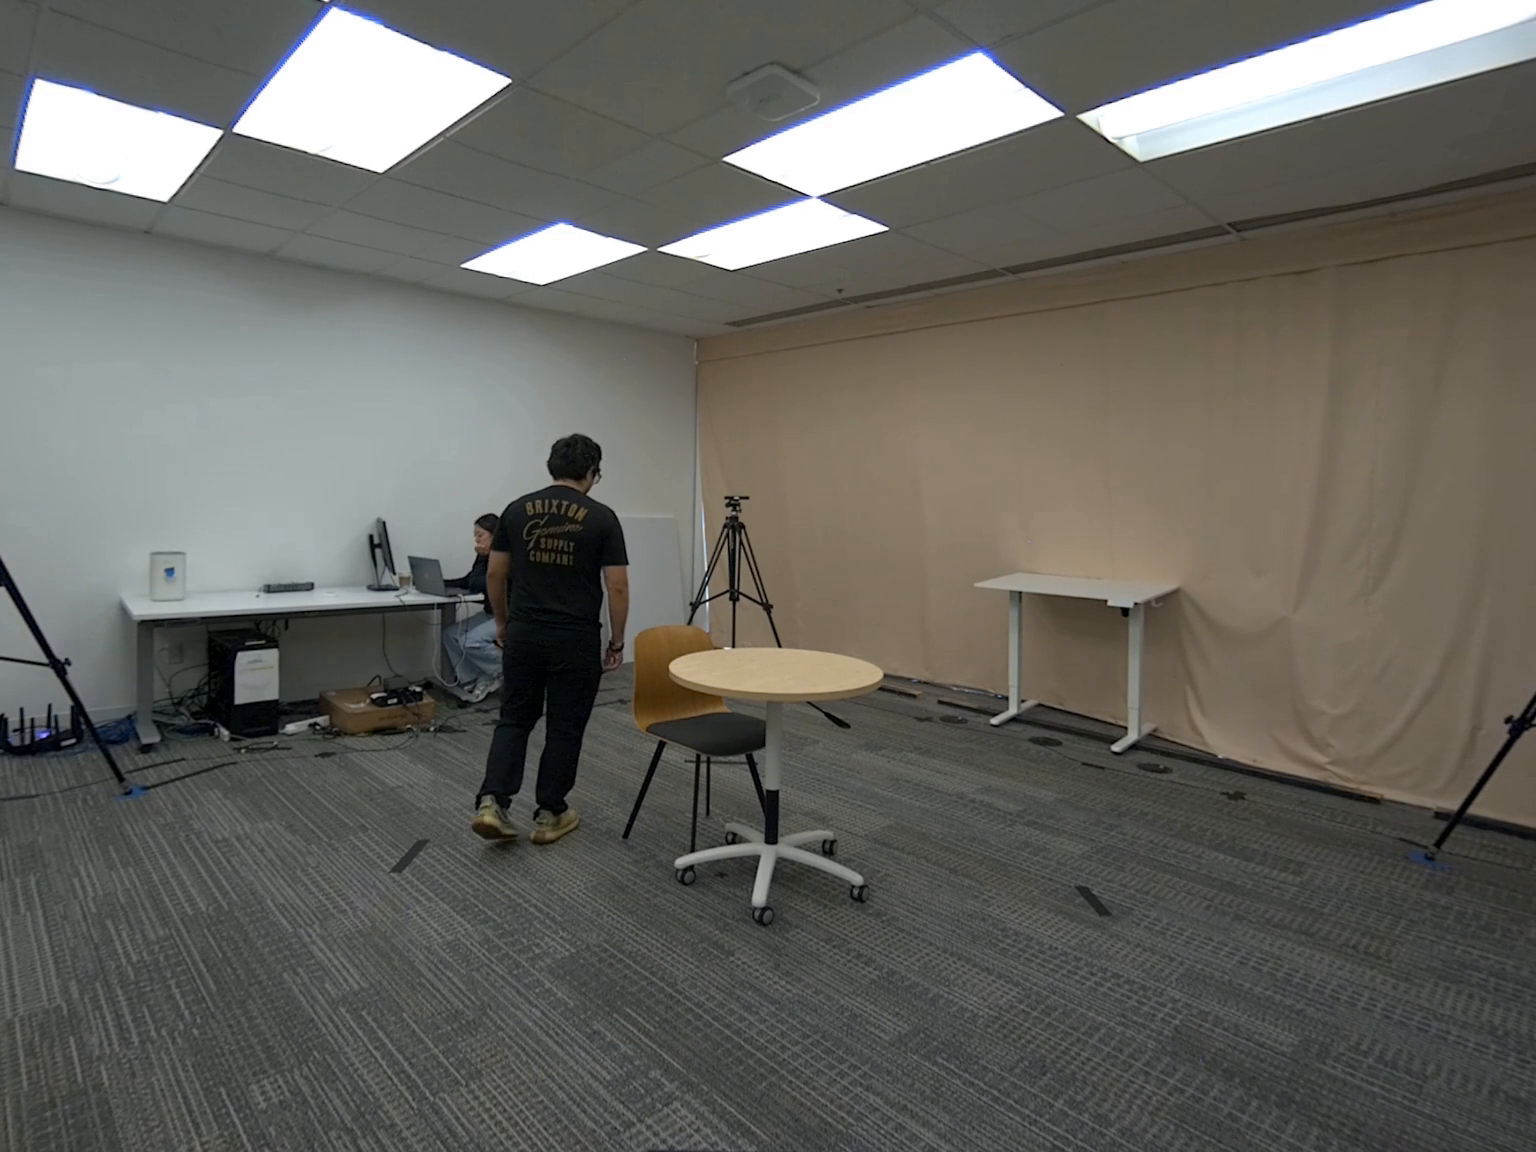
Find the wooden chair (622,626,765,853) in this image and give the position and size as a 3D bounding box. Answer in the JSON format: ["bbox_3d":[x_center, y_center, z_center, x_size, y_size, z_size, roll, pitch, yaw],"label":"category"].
[{"bbox_3d":[-0.259,0.648,3.344,0.467,0.878,0.535,0,-1,-41],"label":"wooden chair"}]
